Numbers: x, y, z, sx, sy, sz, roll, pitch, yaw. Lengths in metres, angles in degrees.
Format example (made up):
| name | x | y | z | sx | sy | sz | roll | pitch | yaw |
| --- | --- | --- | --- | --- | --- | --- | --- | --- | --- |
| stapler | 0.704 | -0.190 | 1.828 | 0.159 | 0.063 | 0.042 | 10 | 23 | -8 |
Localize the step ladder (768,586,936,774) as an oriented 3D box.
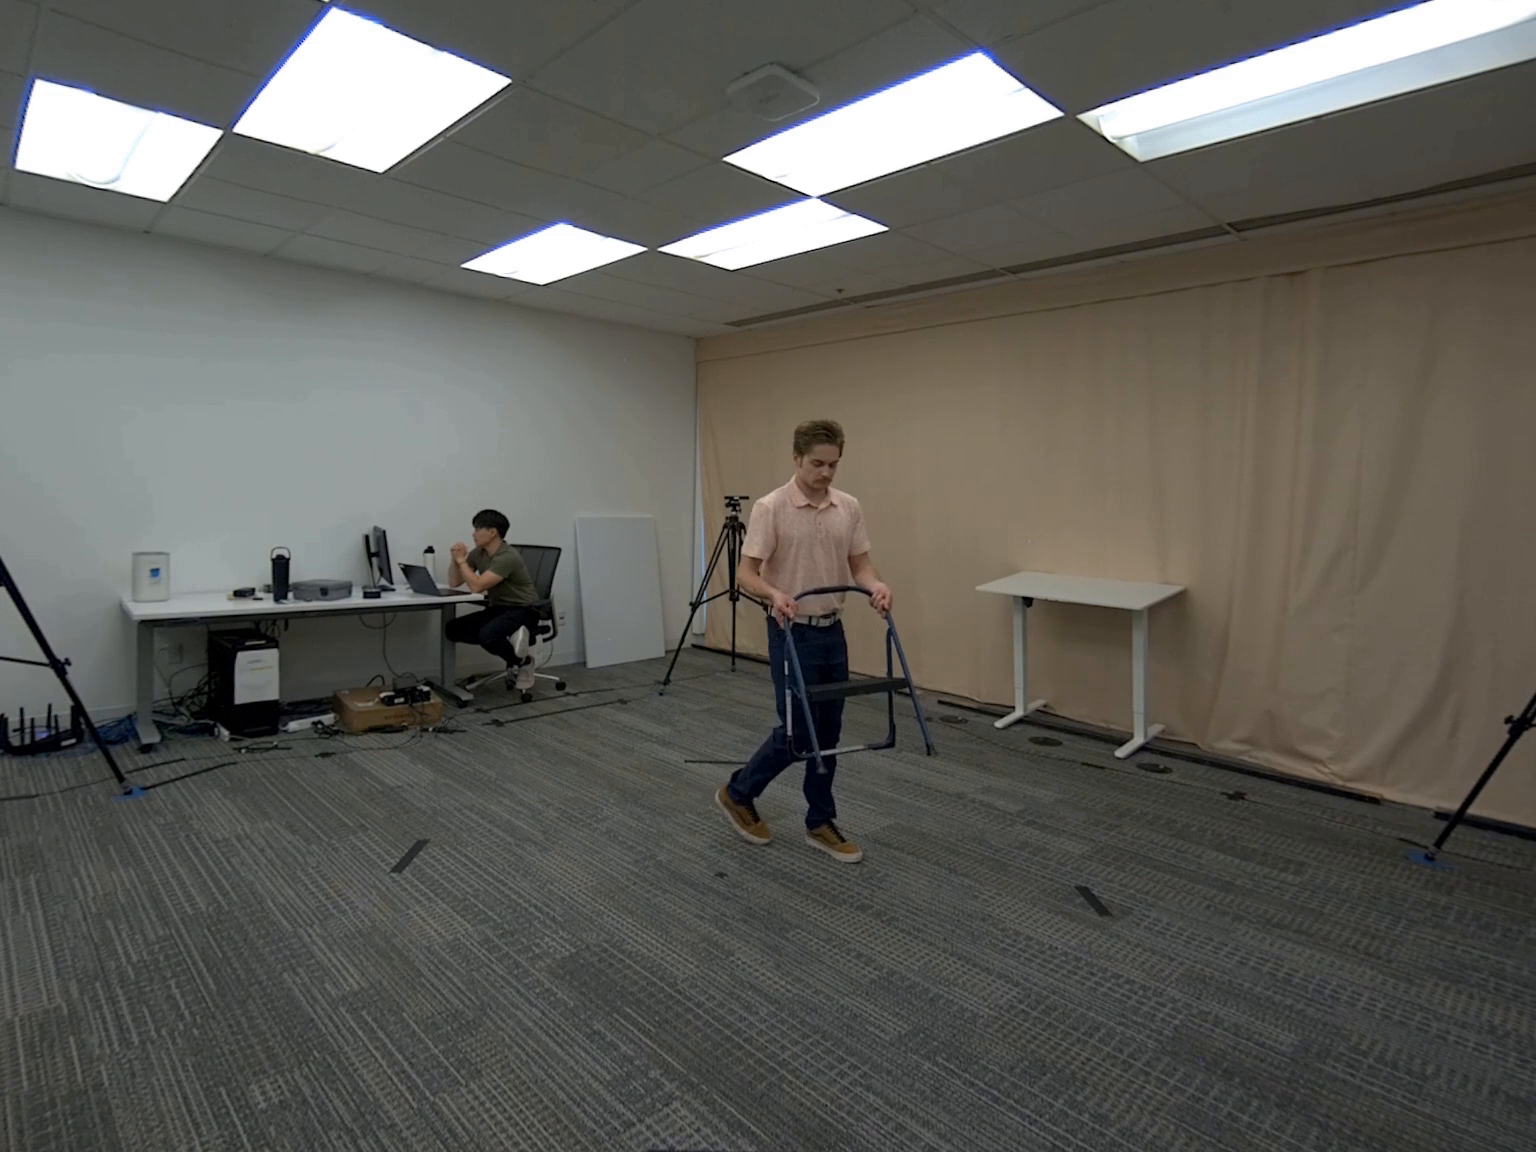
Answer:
| name | x | y | z | sx | sy | sz | roll | pitch | yaw |
| --- | --- | --- | --- | --- | --- | --- | --- | --- | --- |
| step ladder | 0.270 | 0.339 | 2.949 | 0.425 | 0.610 | 0.351 | -5 | -7 | -17 |
